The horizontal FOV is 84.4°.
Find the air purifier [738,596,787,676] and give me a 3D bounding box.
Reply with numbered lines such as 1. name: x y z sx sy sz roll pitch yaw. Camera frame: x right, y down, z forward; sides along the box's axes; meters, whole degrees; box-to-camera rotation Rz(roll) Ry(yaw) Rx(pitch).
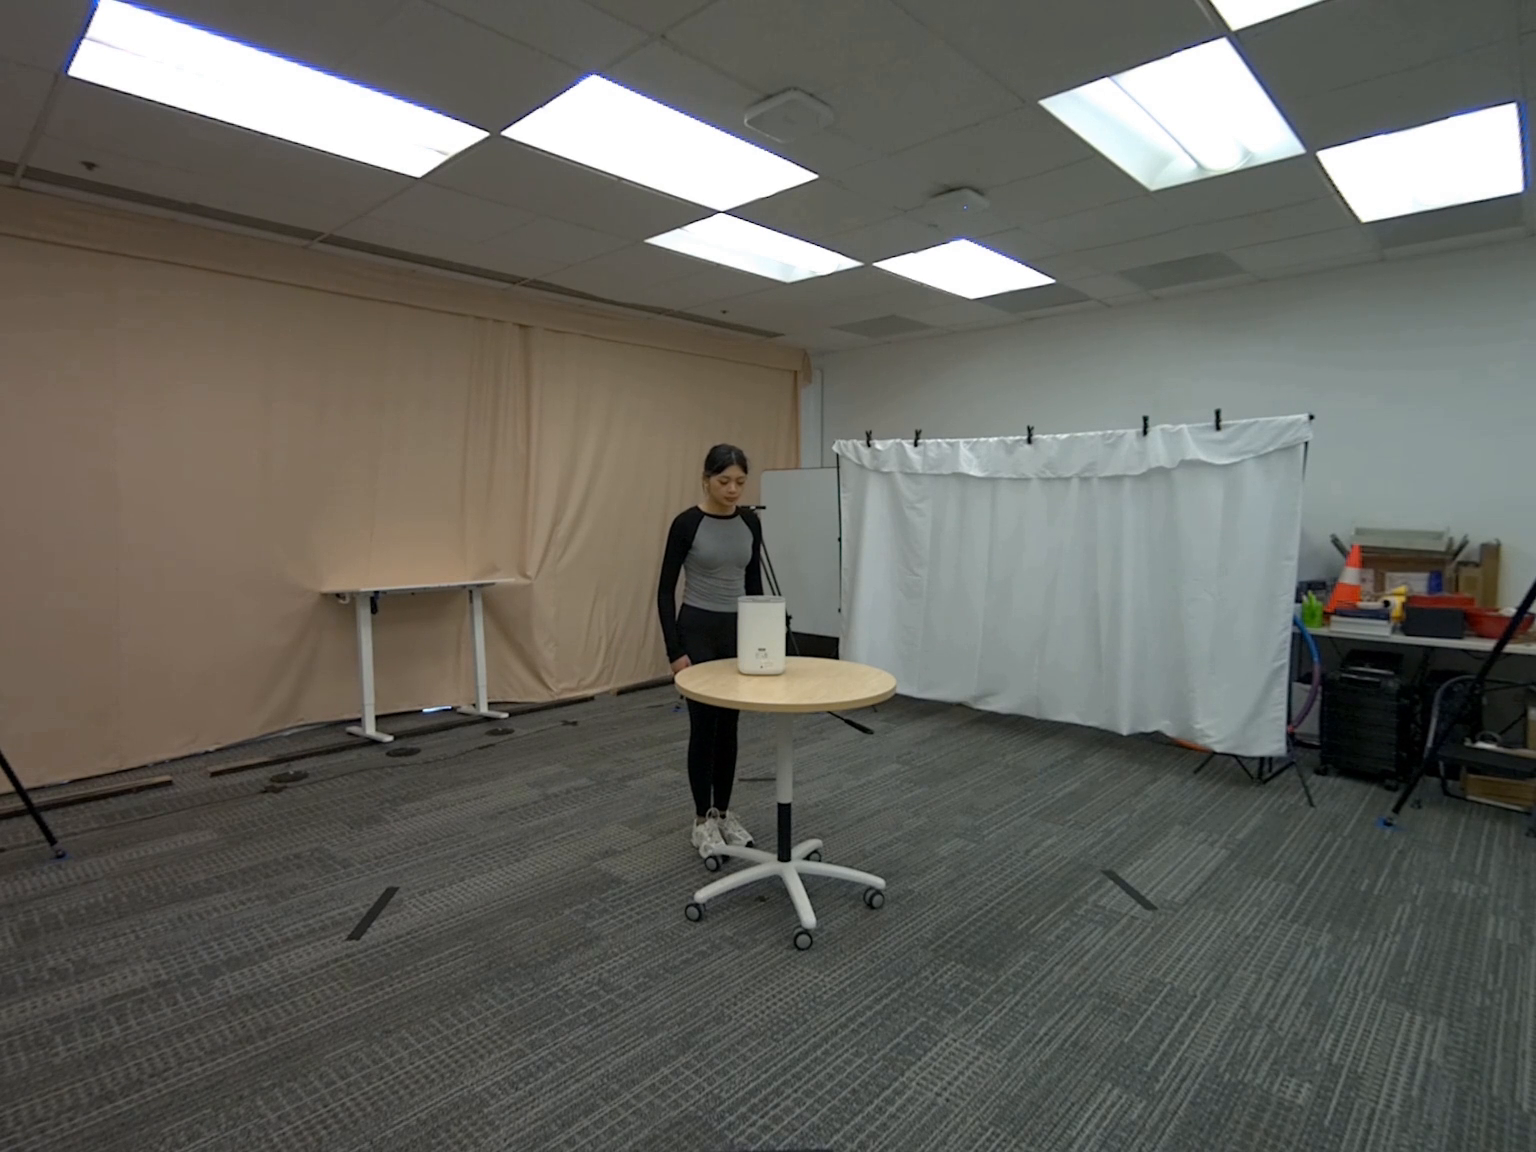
1. air purifier: -0.018 0.211 3.023 0.171 0.265 0.172 0 3 0
